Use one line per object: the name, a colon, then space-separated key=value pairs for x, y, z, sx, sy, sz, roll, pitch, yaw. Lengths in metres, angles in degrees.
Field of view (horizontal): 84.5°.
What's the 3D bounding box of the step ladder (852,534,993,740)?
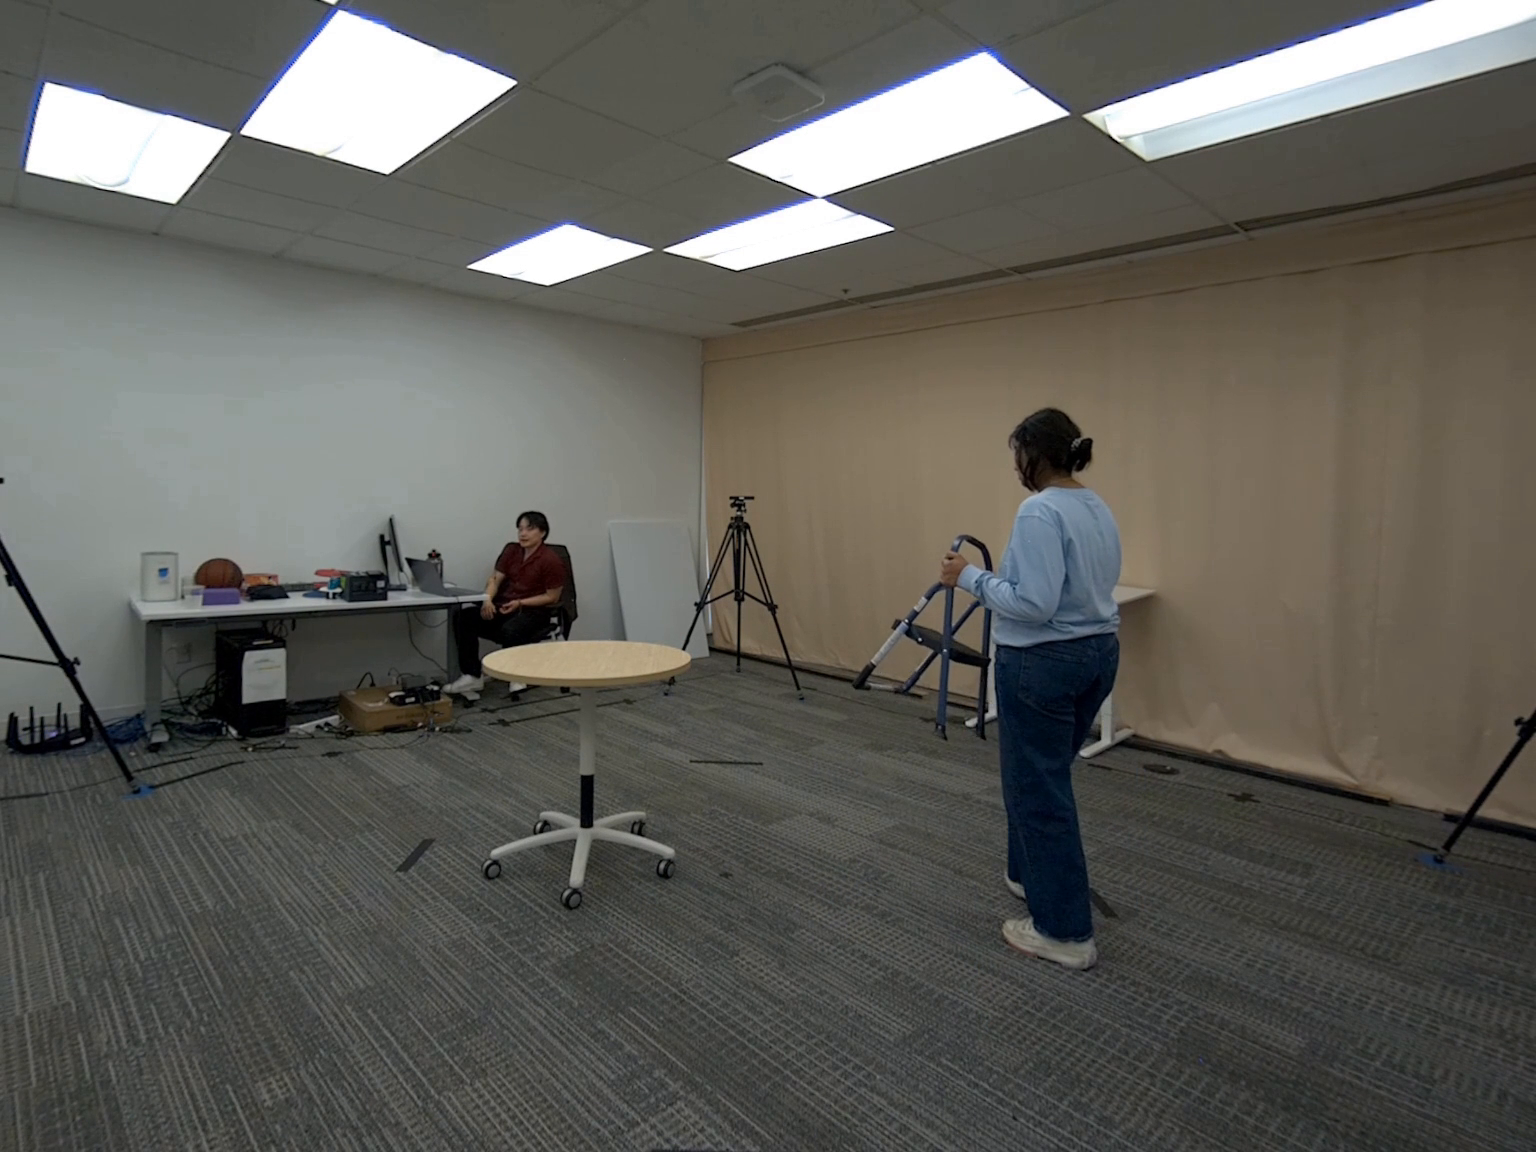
step ladder: x=0.619 y=0.182 z=2.788 sx=0.359 sy=0.605 sz=0.419 roll=27 pitch=4 yaw=33
